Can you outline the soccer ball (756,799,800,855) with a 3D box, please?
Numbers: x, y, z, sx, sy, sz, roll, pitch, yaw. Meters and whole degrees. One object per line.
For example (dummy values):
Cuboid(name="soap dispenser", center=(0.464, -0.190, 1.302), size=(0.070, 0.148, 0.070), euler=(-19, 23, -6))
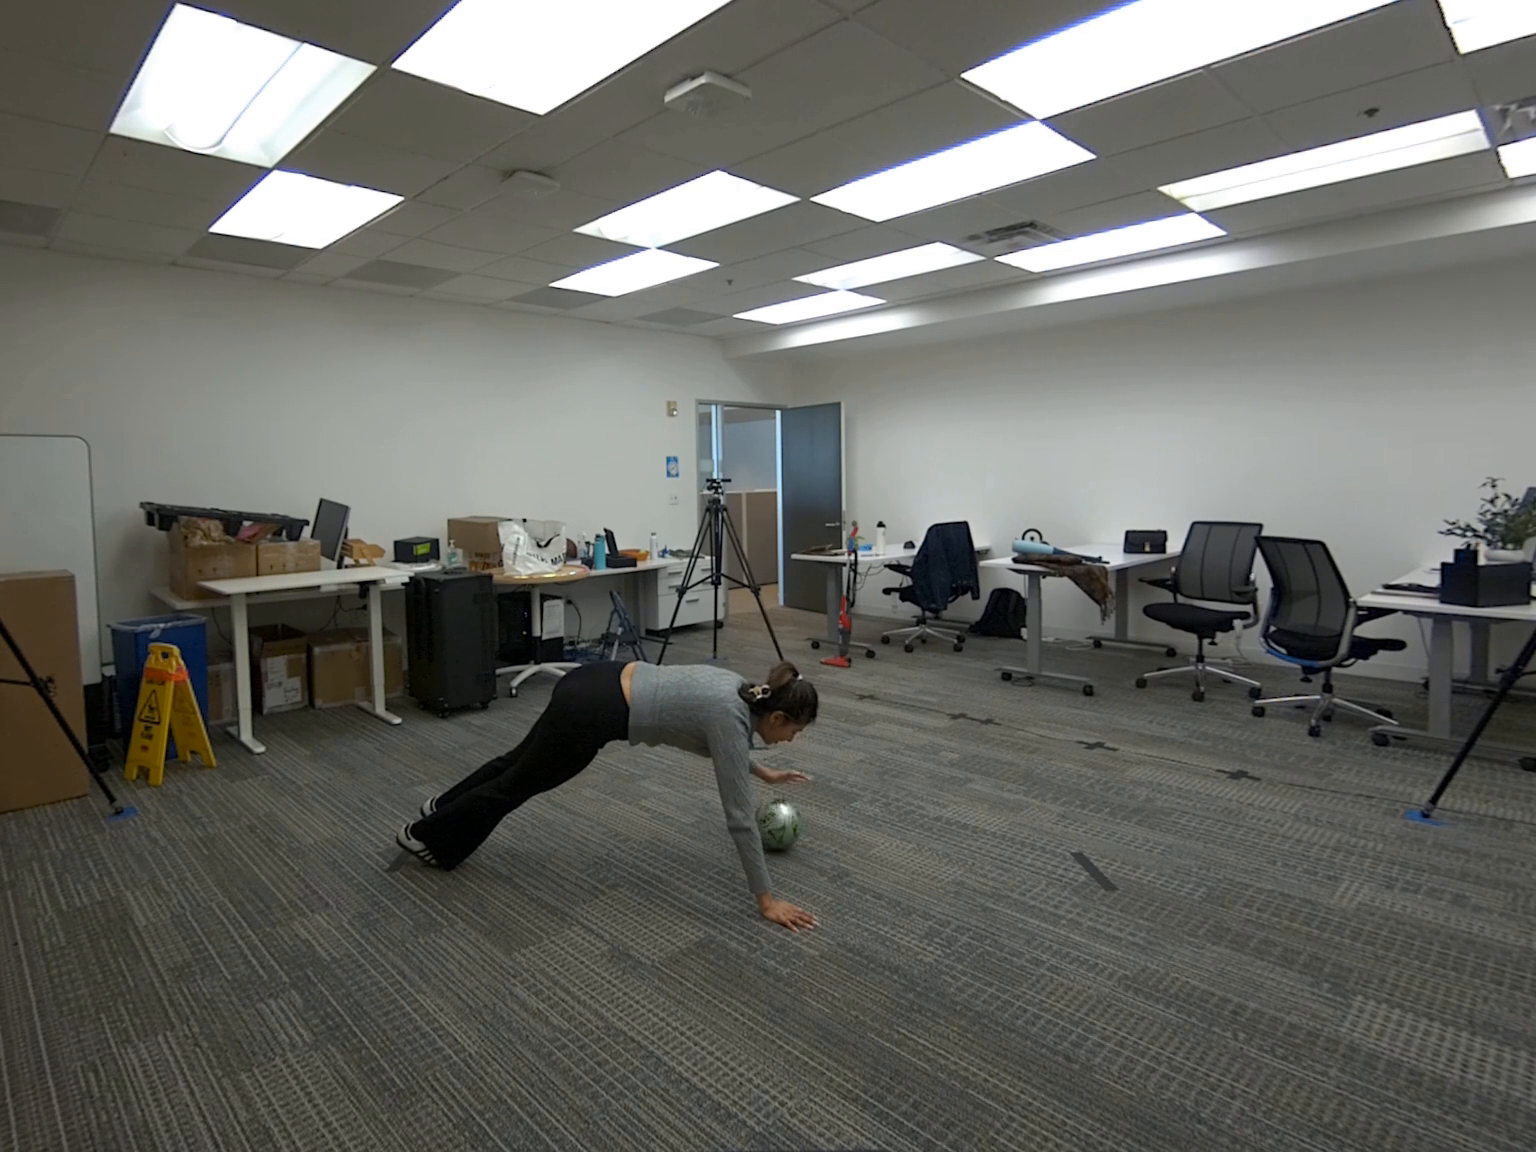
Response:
Cuboid(name="soccer ball", center=(0.034, 0.935, 3.216), size=(0.187, 0.187, 0.188), euler=(-1, 5, -2))
